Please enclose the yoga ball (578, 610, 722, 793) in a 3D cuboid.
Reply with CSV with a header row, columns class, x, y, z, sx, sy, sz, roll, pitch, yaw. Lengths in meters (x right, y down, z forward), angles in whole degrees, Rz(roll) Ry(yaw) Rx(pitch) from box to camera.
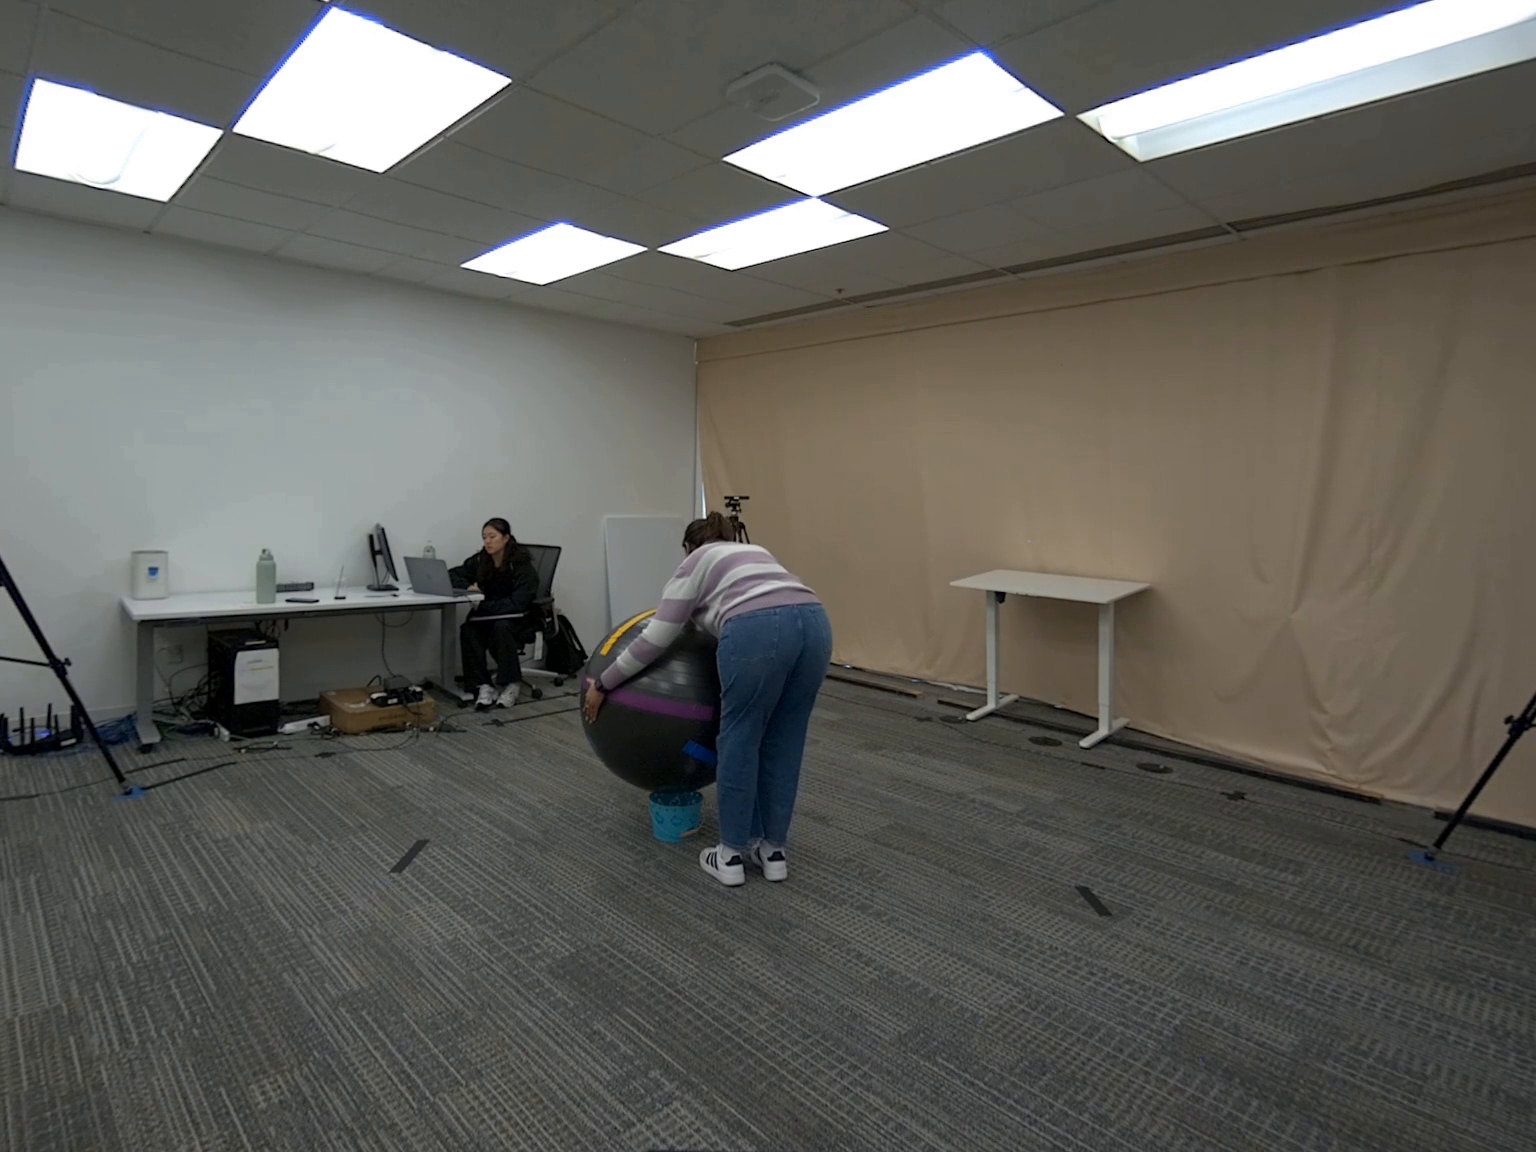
class,x,y,z,sx,sy,sz,roll,pitch,yaw
yoga ball,-0.406,0.498,3.501,0.757,0.756,0.761,1,4,-1
